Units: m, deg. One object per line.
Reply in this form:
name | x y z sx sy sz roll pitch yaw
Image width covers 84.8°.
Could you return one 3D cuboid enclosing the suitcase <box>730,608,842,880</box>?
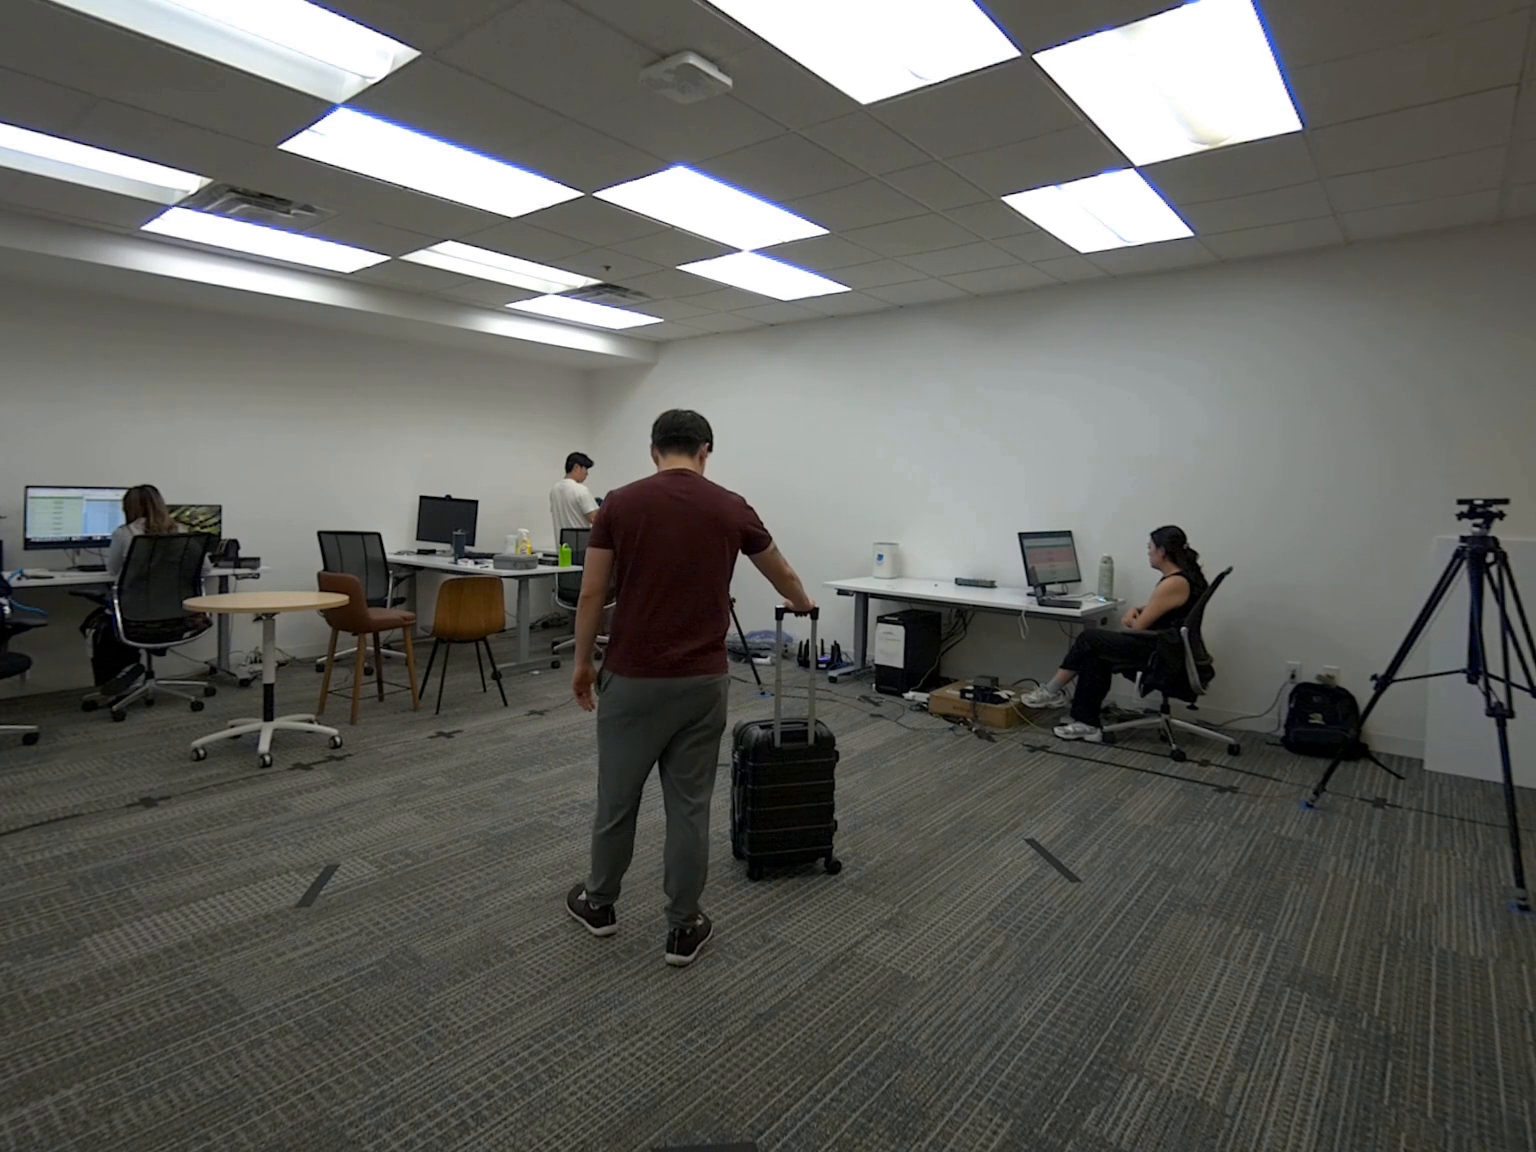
suitcase | 0.053 0.592 3.137 0.378 0.978 0.261 1 1 -16
